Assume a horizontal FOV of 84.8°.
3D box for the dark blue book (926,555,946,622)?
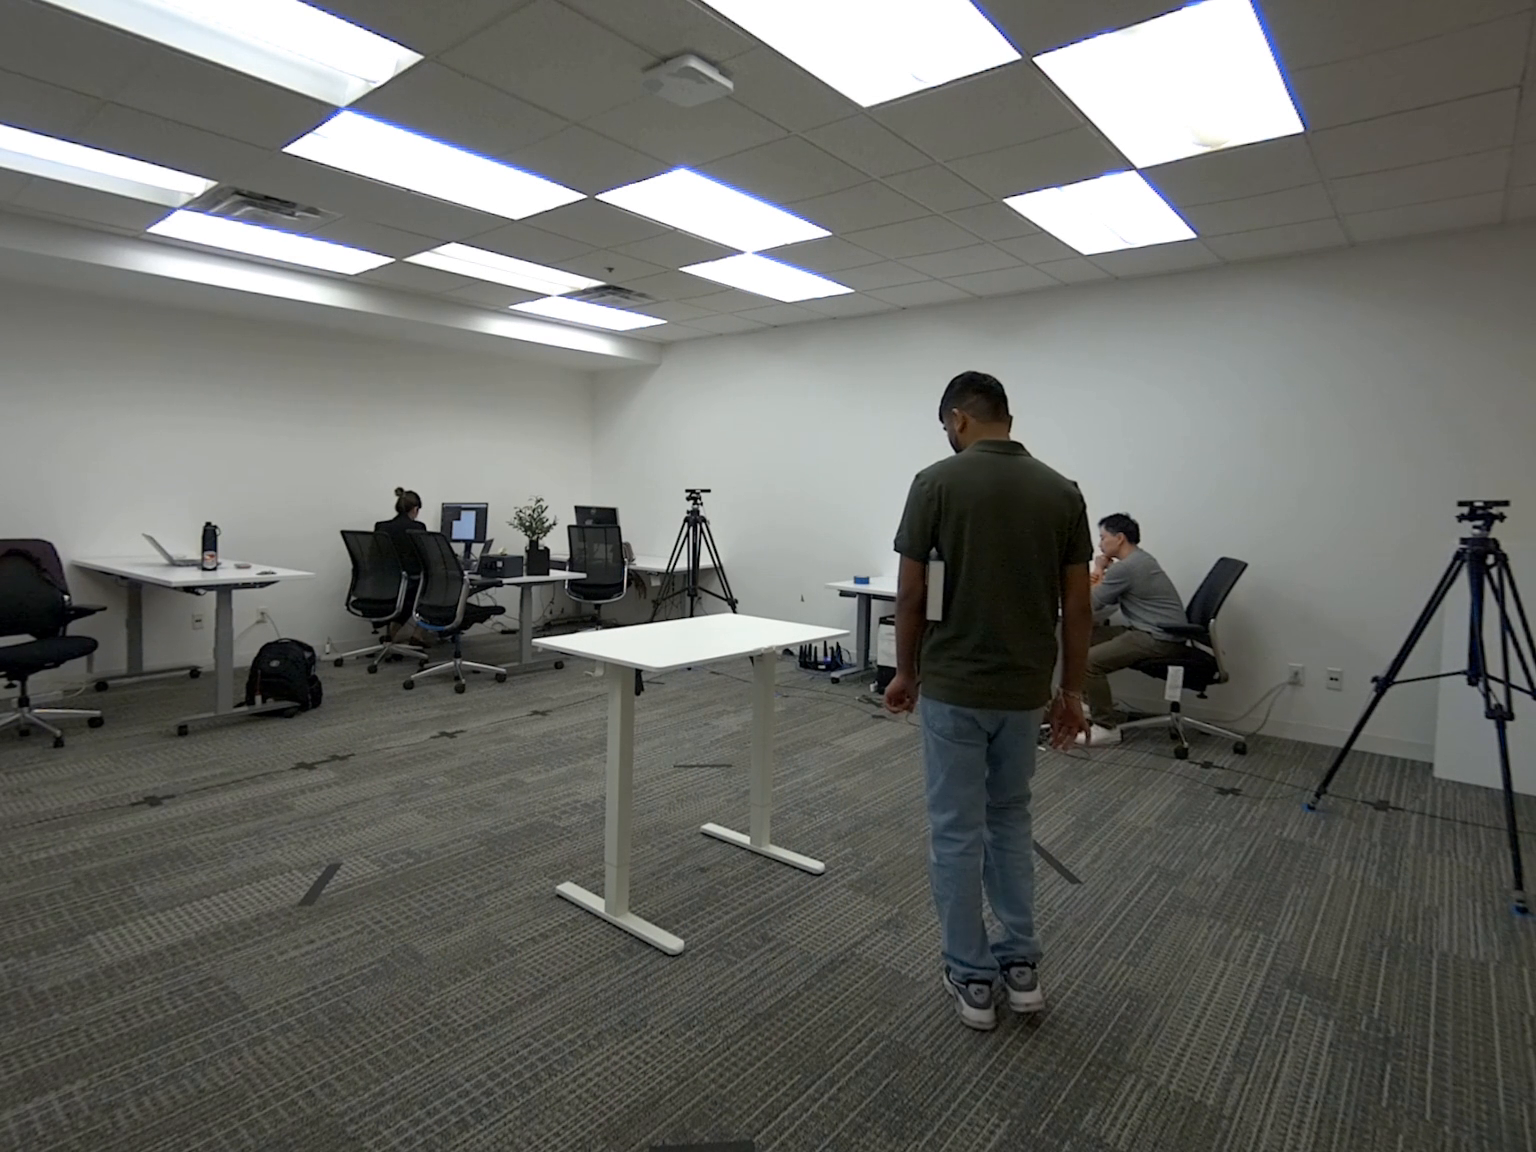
[{"bbox_3d":[0.449,0.016,2.285,0.045,0.162,0.246,-1,9,3],"label":"dark blue book"}]
